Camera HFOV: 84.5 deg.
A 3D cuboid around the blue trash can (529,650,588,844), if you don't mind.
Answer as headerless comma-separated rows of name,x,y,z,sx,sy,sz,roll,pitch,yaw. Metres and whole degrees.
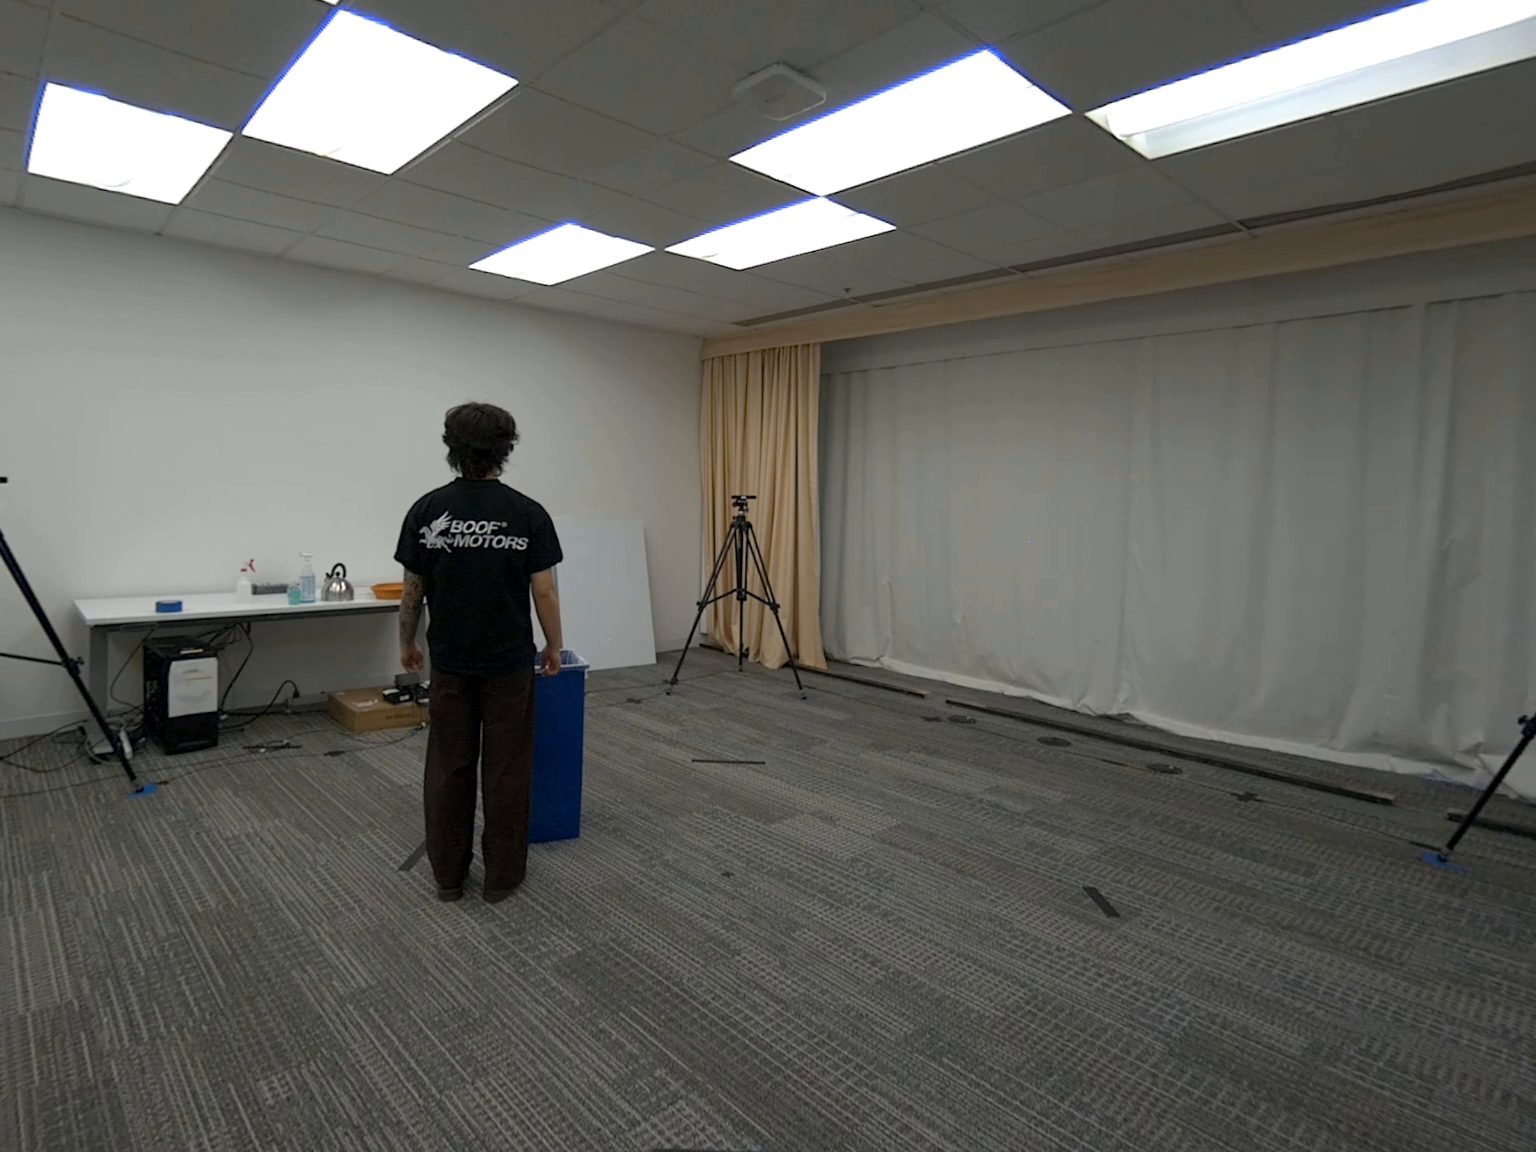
blue trash can,-0.961,0.695,3.467,0.368,0.712,0.385,0,3,-24
